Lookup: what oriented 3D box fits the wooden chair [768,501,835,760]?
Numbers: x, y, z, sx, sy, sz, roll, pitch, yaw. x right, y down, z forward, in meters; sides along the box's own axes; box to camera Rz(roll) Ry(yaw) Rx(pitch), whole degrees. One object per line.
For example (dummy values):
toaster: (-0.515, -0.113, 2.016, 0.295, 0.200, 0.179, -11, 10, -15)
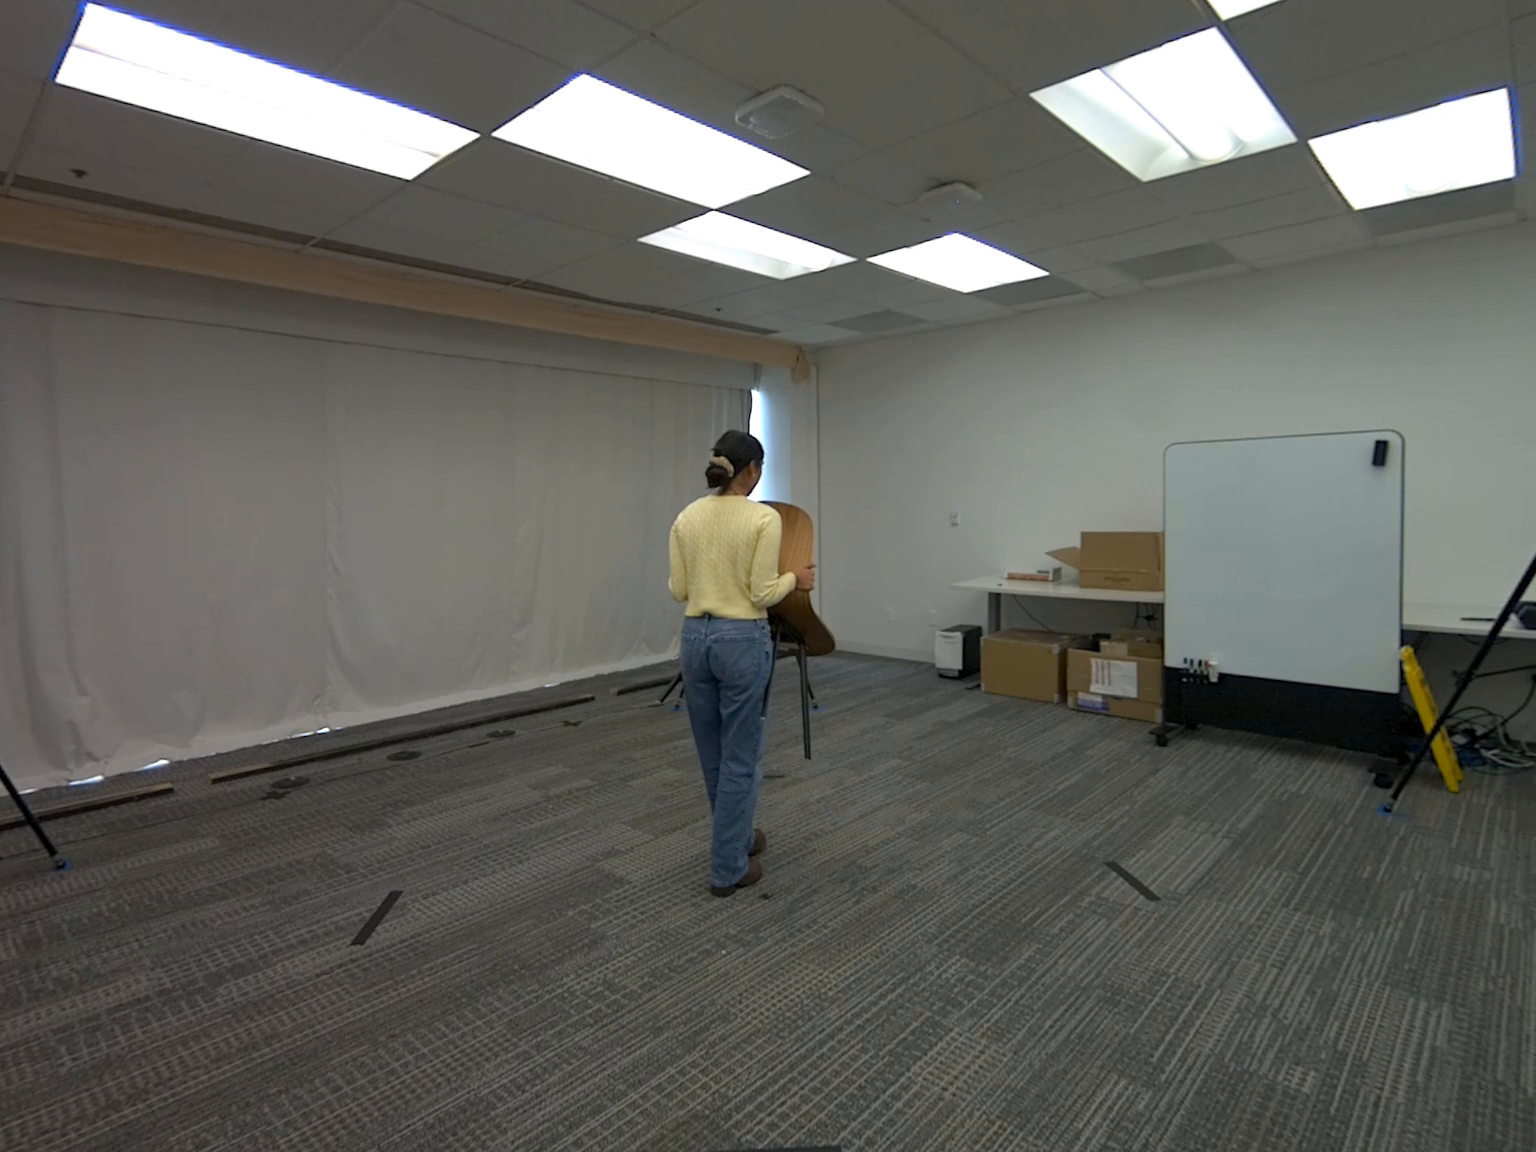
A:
wooden chair: (0.002, 0.211, 3.321, 0.492, 0.883, 0.505, 1, -24, 30)
